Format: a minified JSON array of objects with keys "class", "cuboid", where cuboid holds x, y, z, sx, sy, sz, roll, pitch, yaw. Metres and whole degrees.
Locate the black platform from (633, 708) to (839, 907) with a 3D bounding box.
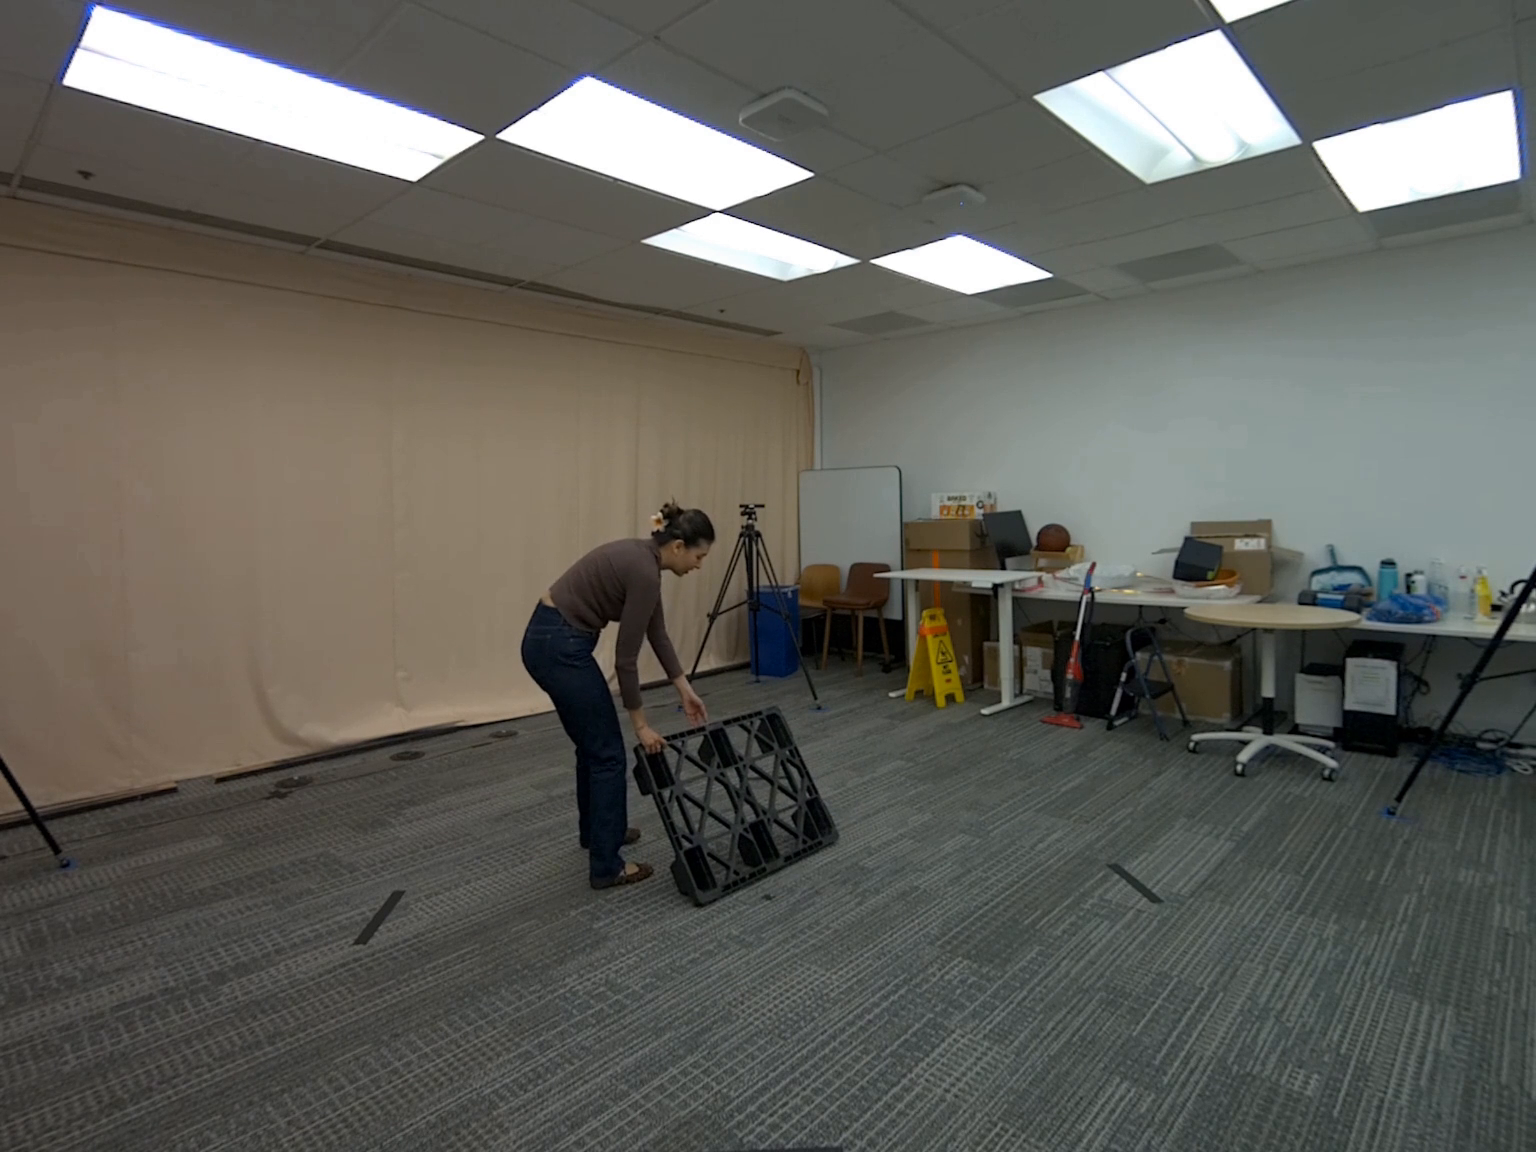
[{"class":"black platform","cuboid":[-0.124,0.883,3.317,0.781,0.617,0.145,-5,-28,-46]}]
